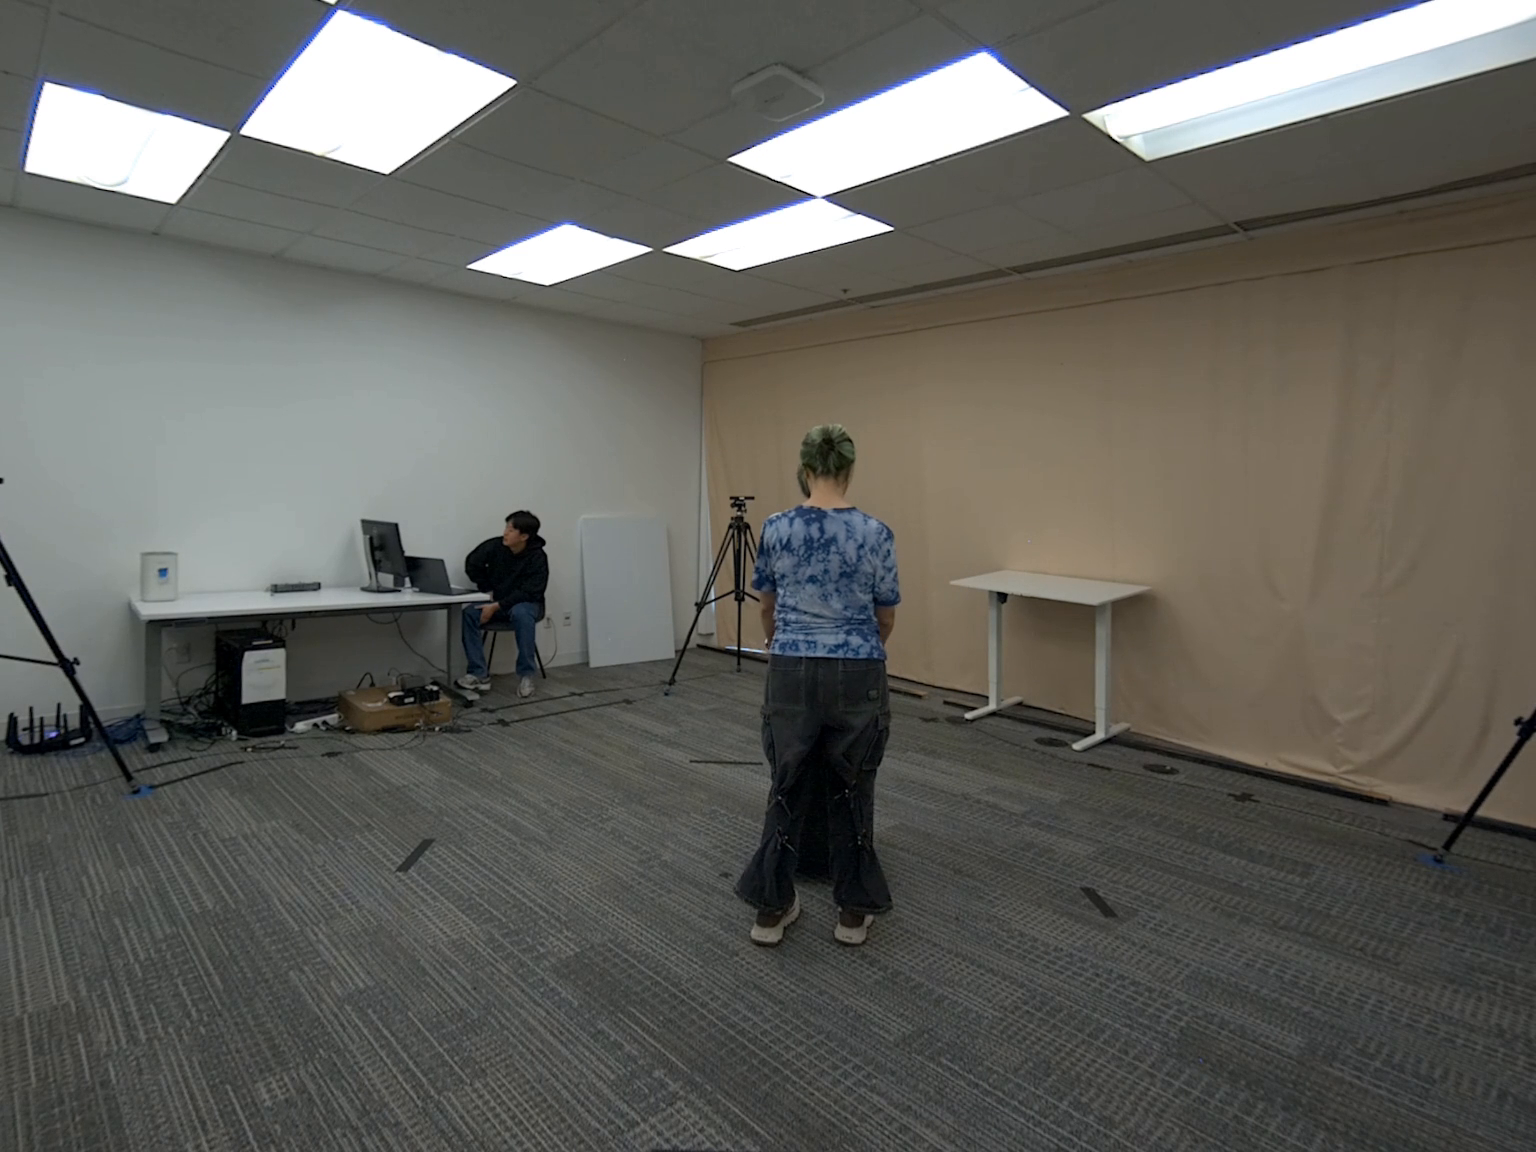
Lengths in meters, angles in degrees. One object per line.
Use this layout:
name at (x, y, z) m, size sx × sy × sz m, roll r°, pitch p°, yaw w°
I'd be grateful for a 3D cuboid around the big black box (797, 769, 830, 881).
big black box at (0.208, 0.683, 3.231) m, size 0.398 × 0.859 × 0.519 m, roll 2°, pitch 4°, yaw 6°
